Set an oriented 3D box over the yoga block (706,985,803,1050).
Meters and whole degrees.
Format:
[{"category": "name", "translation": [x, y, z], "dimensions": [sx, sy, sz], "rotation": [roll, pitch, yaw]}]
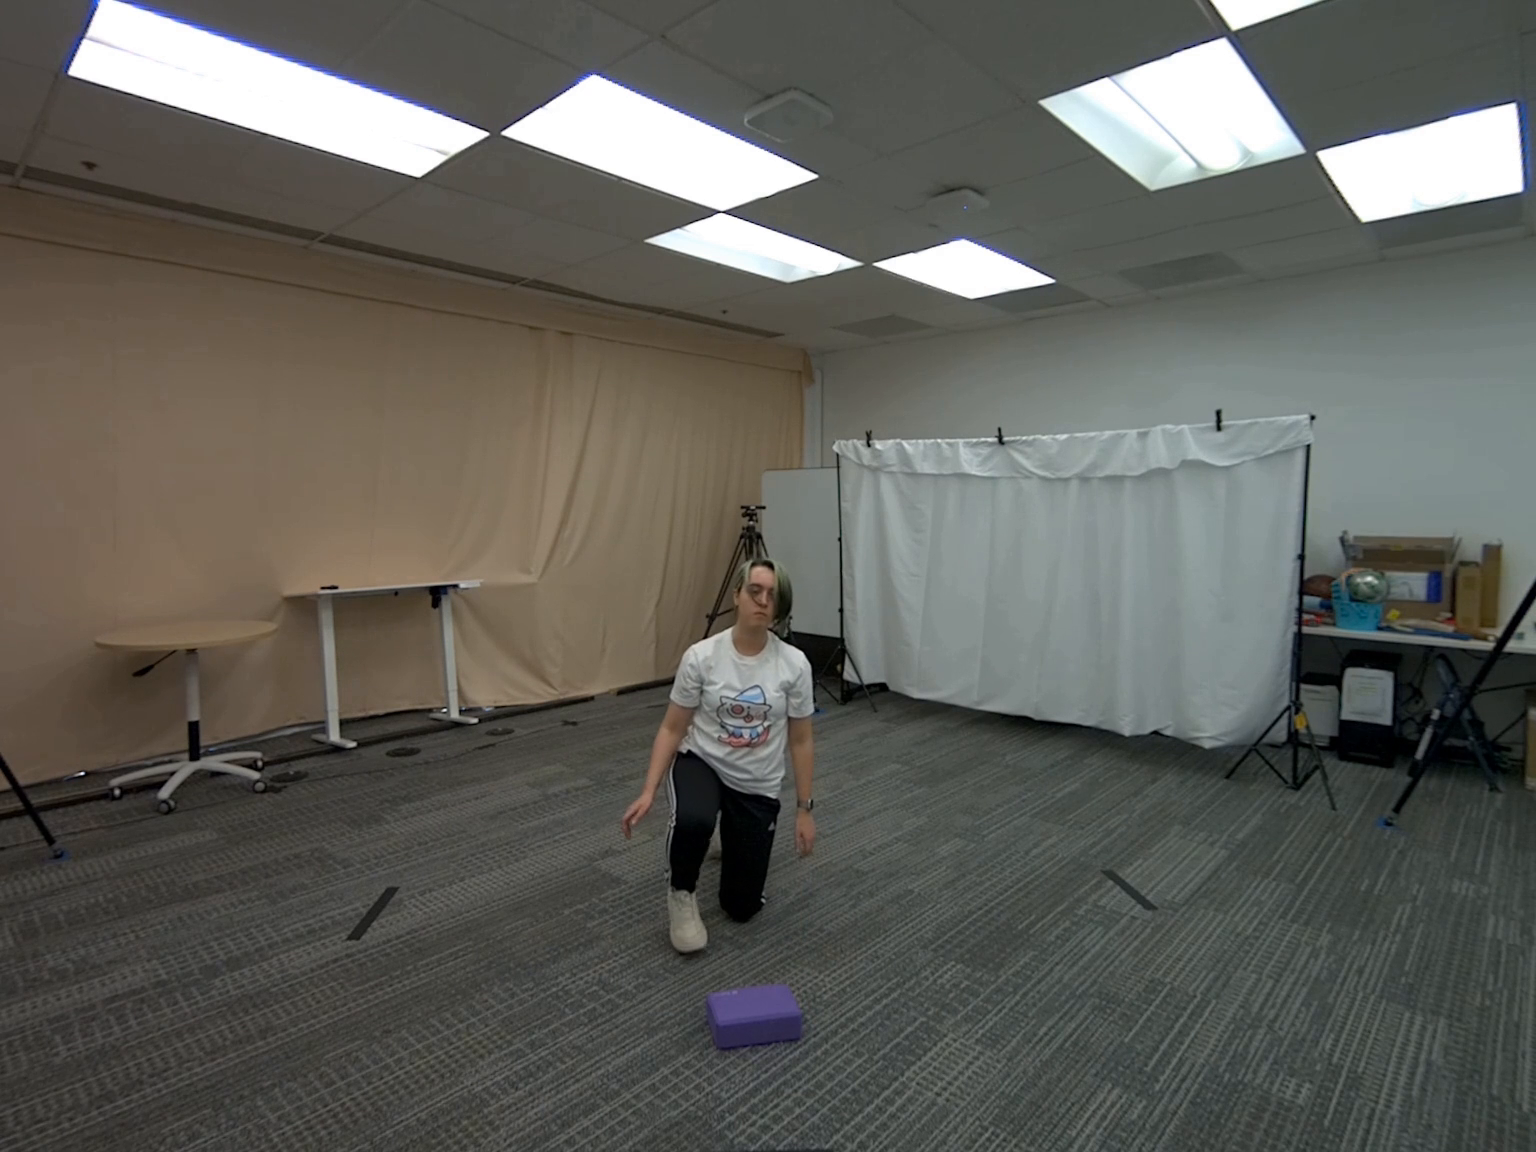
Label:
[{"category": "yoga block", "translation": [-0.036, 1.163, 2.242], "dimensions": [0.227, 0.076, 0.151], "rotation": [0, 4, -12]}]
